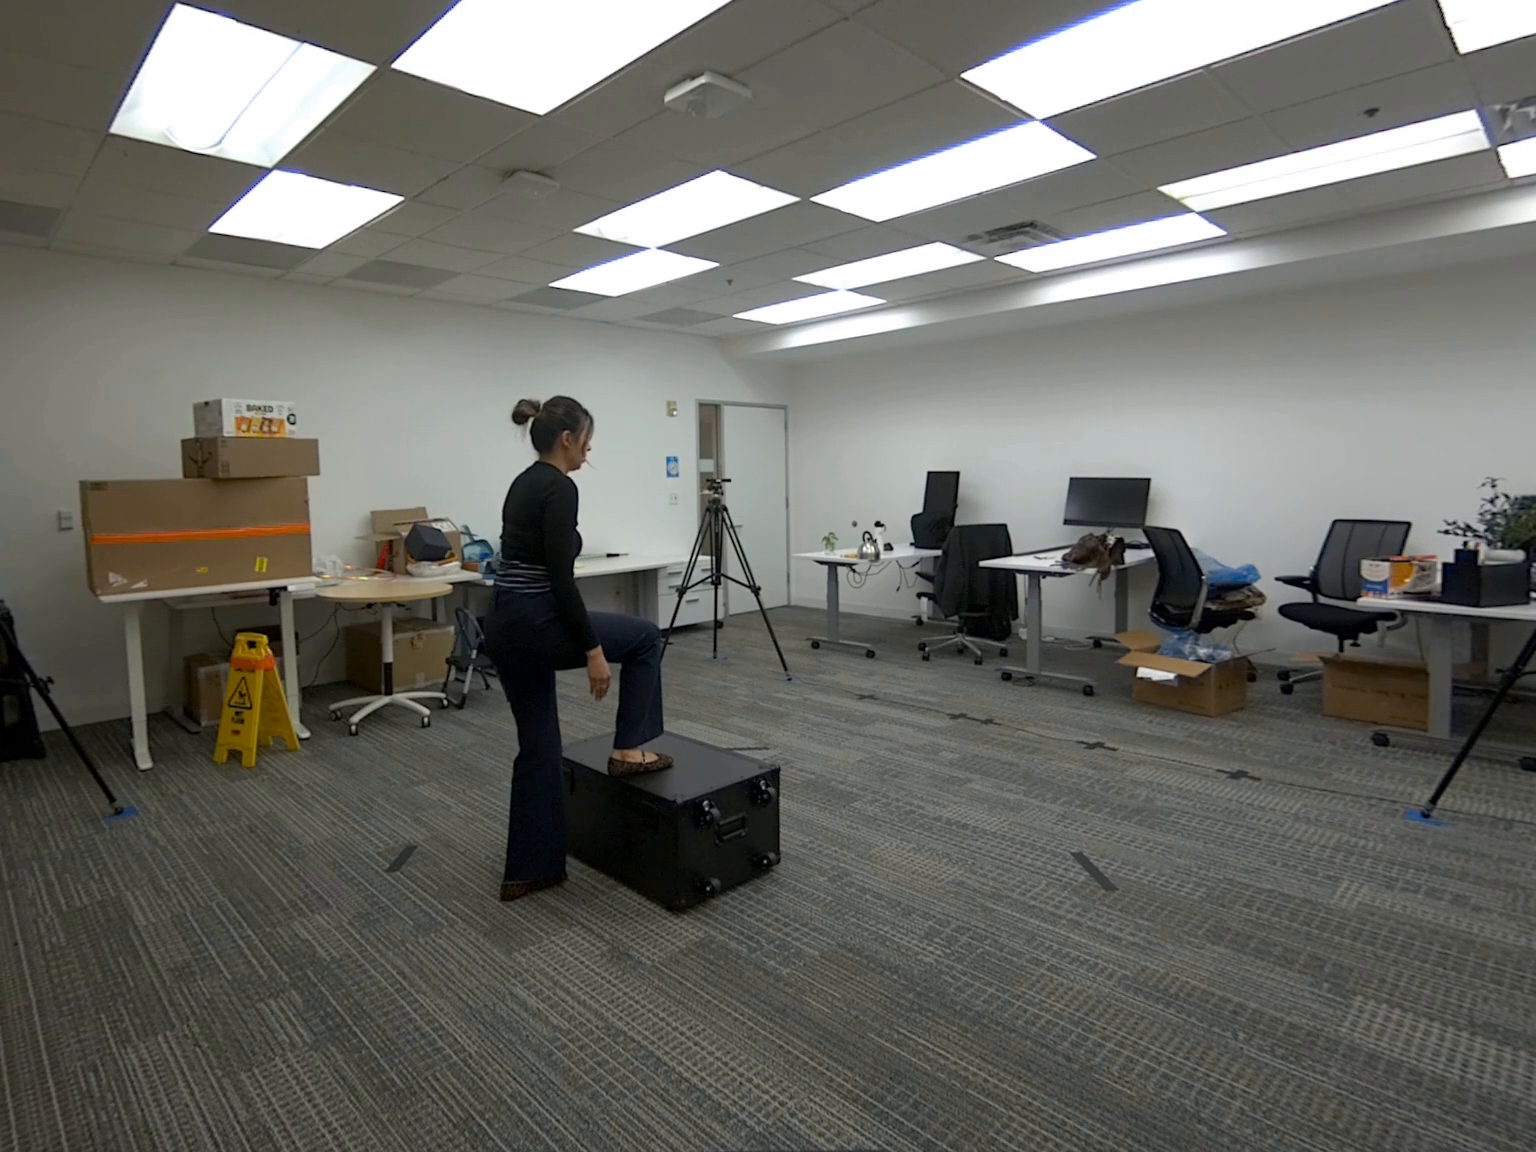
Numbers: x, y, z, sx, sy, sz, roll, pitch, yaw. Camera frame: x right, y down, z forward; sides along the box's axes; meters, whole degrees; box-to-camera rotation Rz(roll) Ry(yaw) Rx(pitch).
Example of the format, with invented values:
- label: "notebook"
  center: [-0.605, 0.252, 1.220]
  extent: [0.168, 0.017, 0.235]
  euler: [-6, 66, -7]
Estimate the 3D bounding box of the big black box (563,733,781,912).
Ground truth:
- label: "big black box"
  center: [-0.418, 0.852, 3.185]
  extent: [0.507, 0.394, 0.888]
  euler: [-6, 8, -44]
